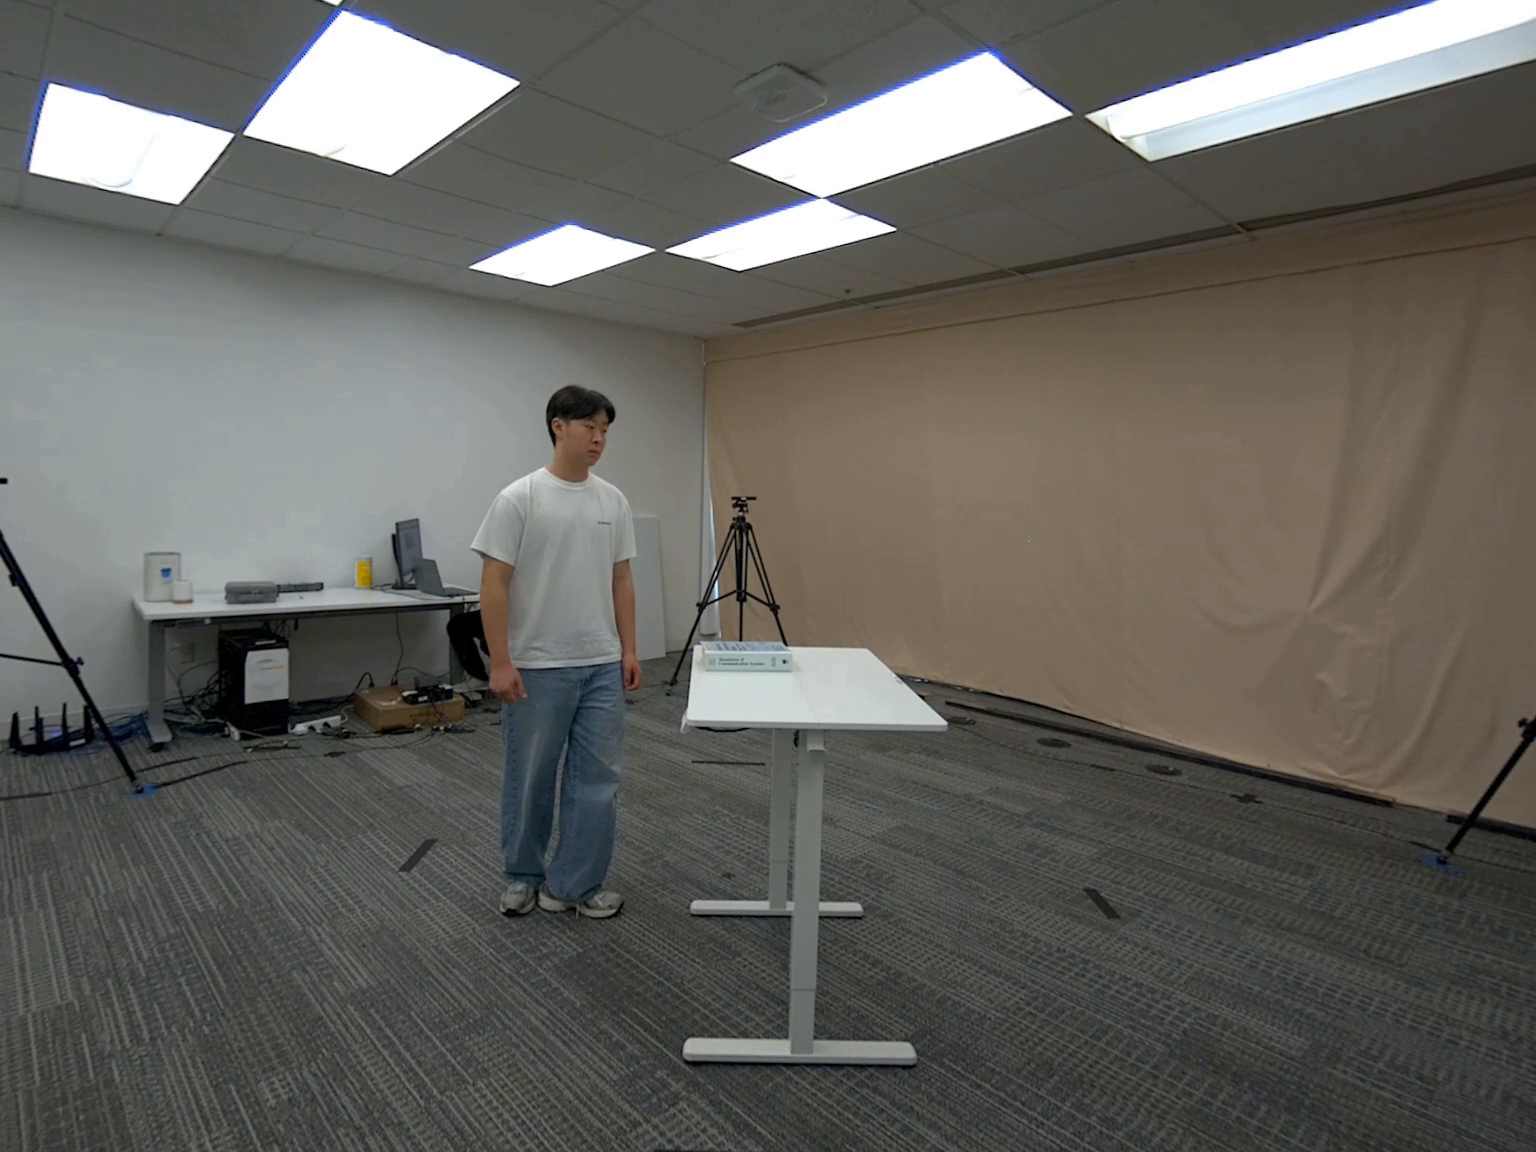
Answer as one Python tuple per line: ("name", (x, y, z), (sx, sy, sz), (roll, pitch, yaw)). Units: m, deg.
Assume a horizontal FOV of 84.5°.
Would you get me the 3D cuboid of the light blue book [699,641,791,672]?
("light blue book", (-0.086, 0.252, 2.544), (0.259, 0.059, 0.193), (3, 3, -9))
